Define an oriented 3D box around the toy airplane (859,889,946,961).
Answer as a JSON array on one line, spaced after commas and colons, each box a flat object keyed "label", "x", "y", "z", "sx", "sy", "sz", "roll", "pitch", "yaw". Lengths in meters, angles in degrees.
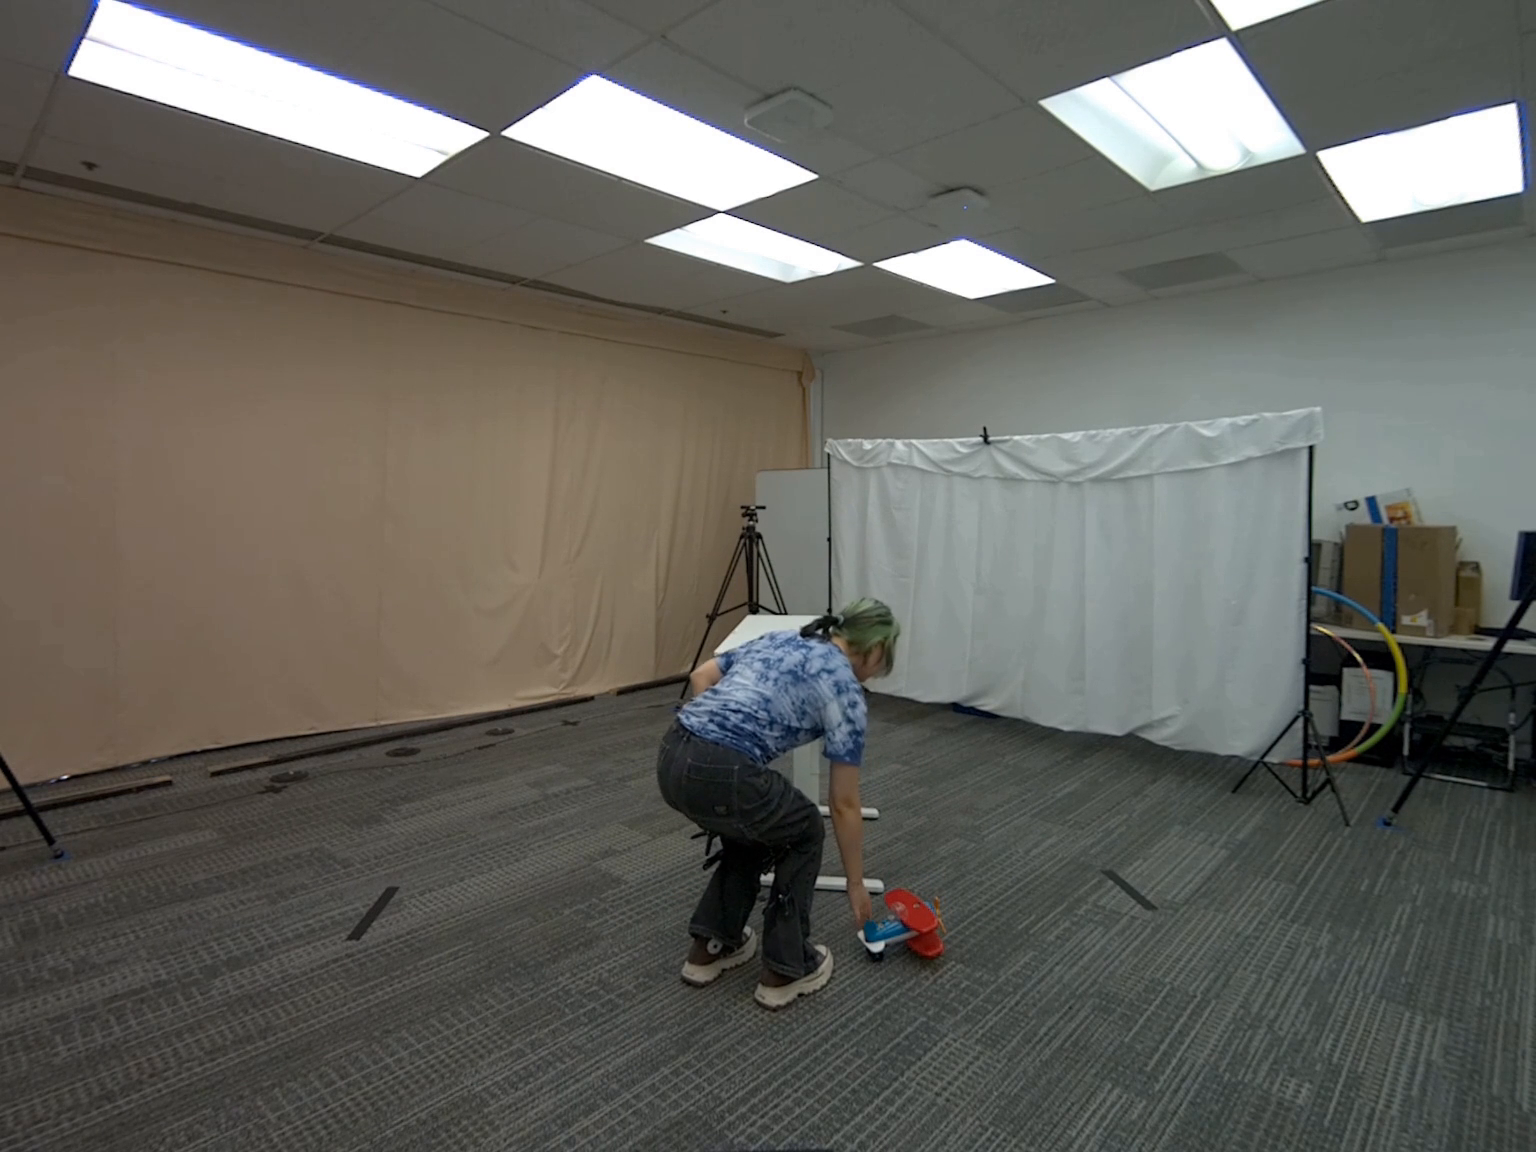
[{"label": "toy airplane", "x": 0.434, "y": 1.107, "z": 2.593, "sx": 0.251, "sy": 0.156, "sz": 0.259, "roll": -4, "pitch": 6, "yaw": -44}]
